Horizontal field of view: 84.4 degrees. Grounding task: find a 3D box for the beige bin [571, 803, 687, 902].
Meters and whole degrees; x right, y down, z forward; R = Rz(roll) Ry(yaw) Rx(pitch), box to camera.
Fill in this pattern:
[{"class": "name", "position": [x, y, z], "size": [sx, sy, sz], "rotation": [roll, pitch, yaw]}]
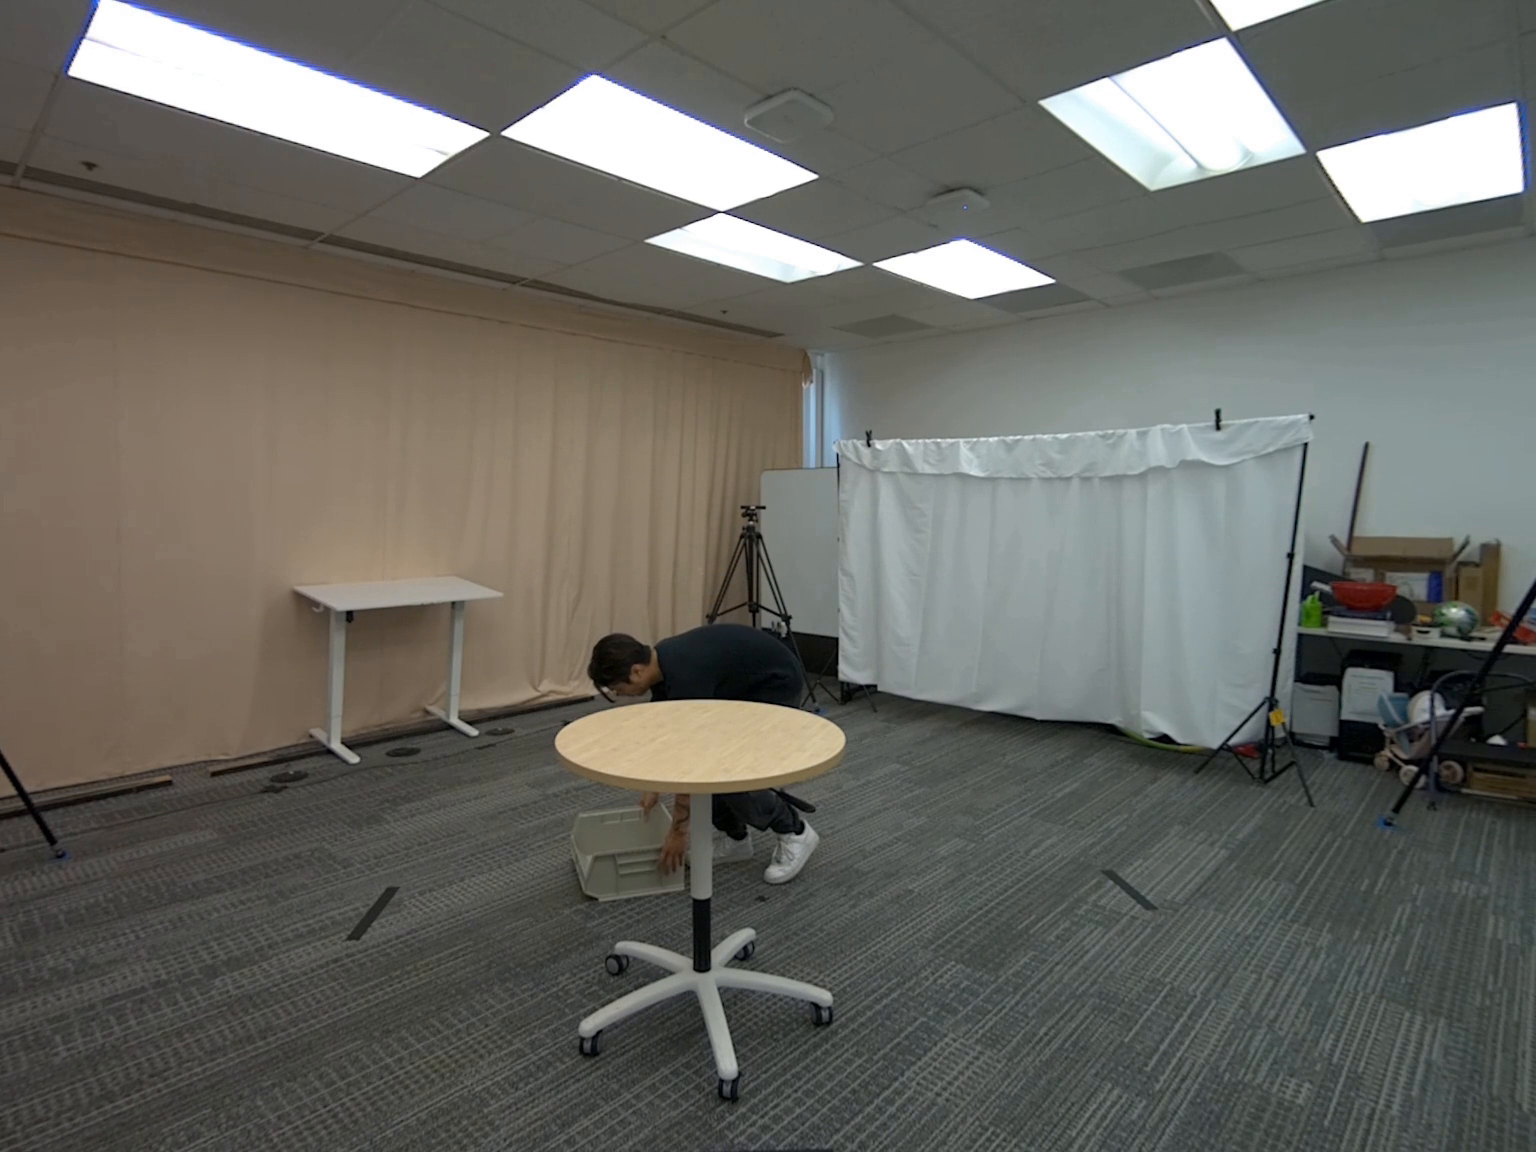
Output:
[{"class": "beige bin", "position": [-0.540, 1.044, 3.201], "size": [0.370, 0.189, 0.431], "rotation": [-2, 3, -18]}]
